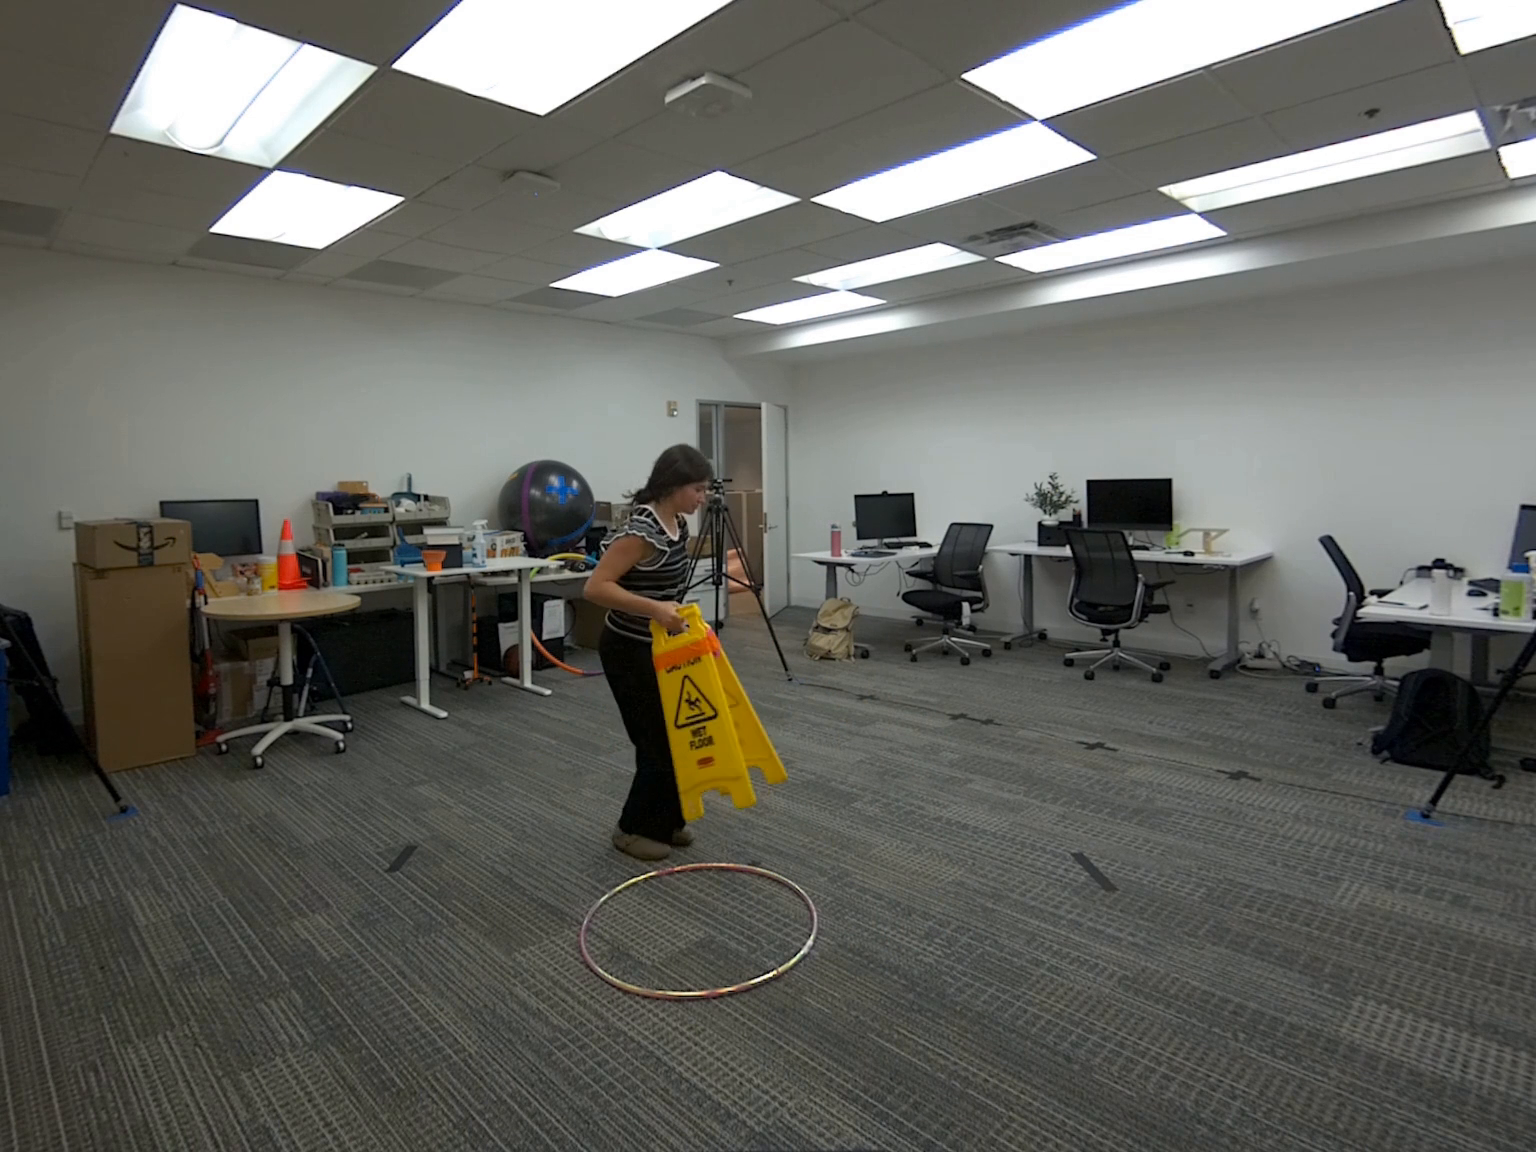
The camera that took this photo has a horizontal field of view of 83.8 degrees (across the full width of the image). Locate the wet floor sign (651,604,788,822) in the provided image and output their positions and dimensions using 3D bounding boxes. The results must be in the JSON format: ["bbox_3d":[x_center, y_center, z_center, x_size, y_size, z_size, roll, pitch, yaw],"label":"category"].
[{"bbox_3d":[-0.217,0.418,2.817,0.286,0.651,0.283,-22,-6,29],"label":"wet floor sign"}]
